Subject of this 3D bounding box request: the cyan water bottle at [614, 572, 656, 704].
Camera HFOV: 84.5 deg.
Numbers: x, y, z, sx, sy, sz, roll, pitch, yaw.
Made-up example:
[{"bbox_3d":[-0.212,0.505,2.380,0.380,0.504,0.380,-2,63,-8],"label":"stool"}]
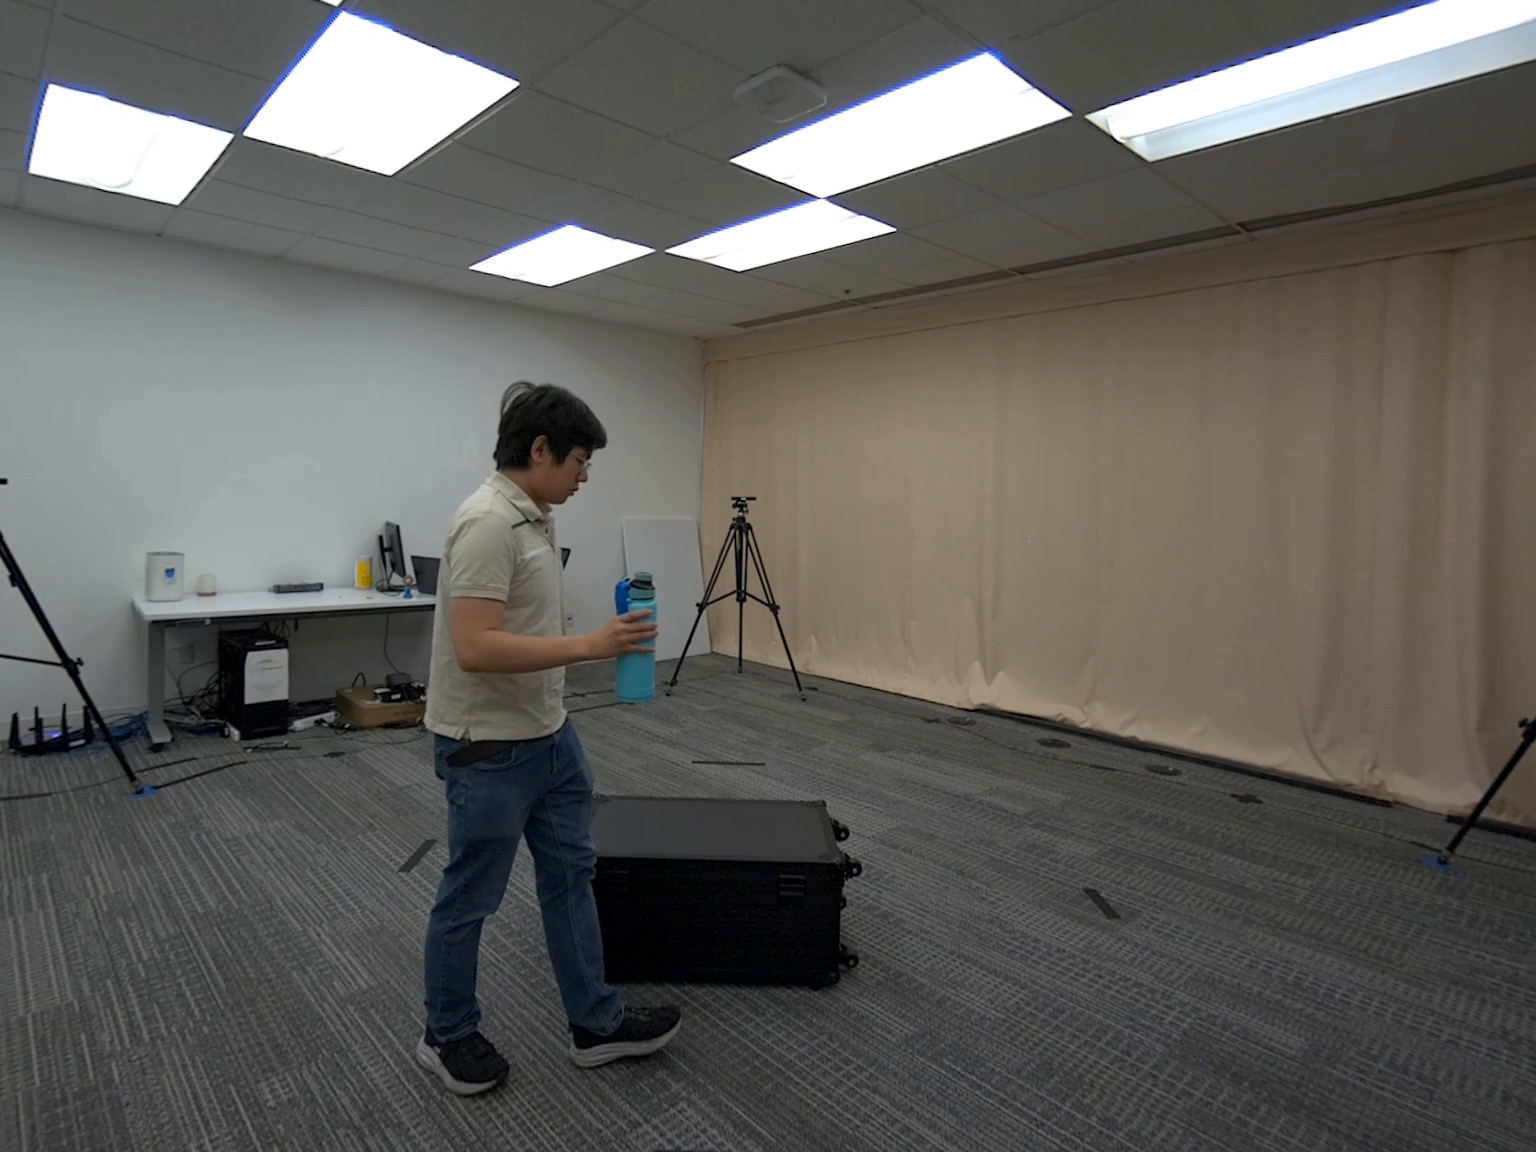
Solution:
[{"bbox_3d":[-0.304,0.137,1.852,0.092,0.282,0.093,3,8,-2],"label":"cyan water bottle"}]
